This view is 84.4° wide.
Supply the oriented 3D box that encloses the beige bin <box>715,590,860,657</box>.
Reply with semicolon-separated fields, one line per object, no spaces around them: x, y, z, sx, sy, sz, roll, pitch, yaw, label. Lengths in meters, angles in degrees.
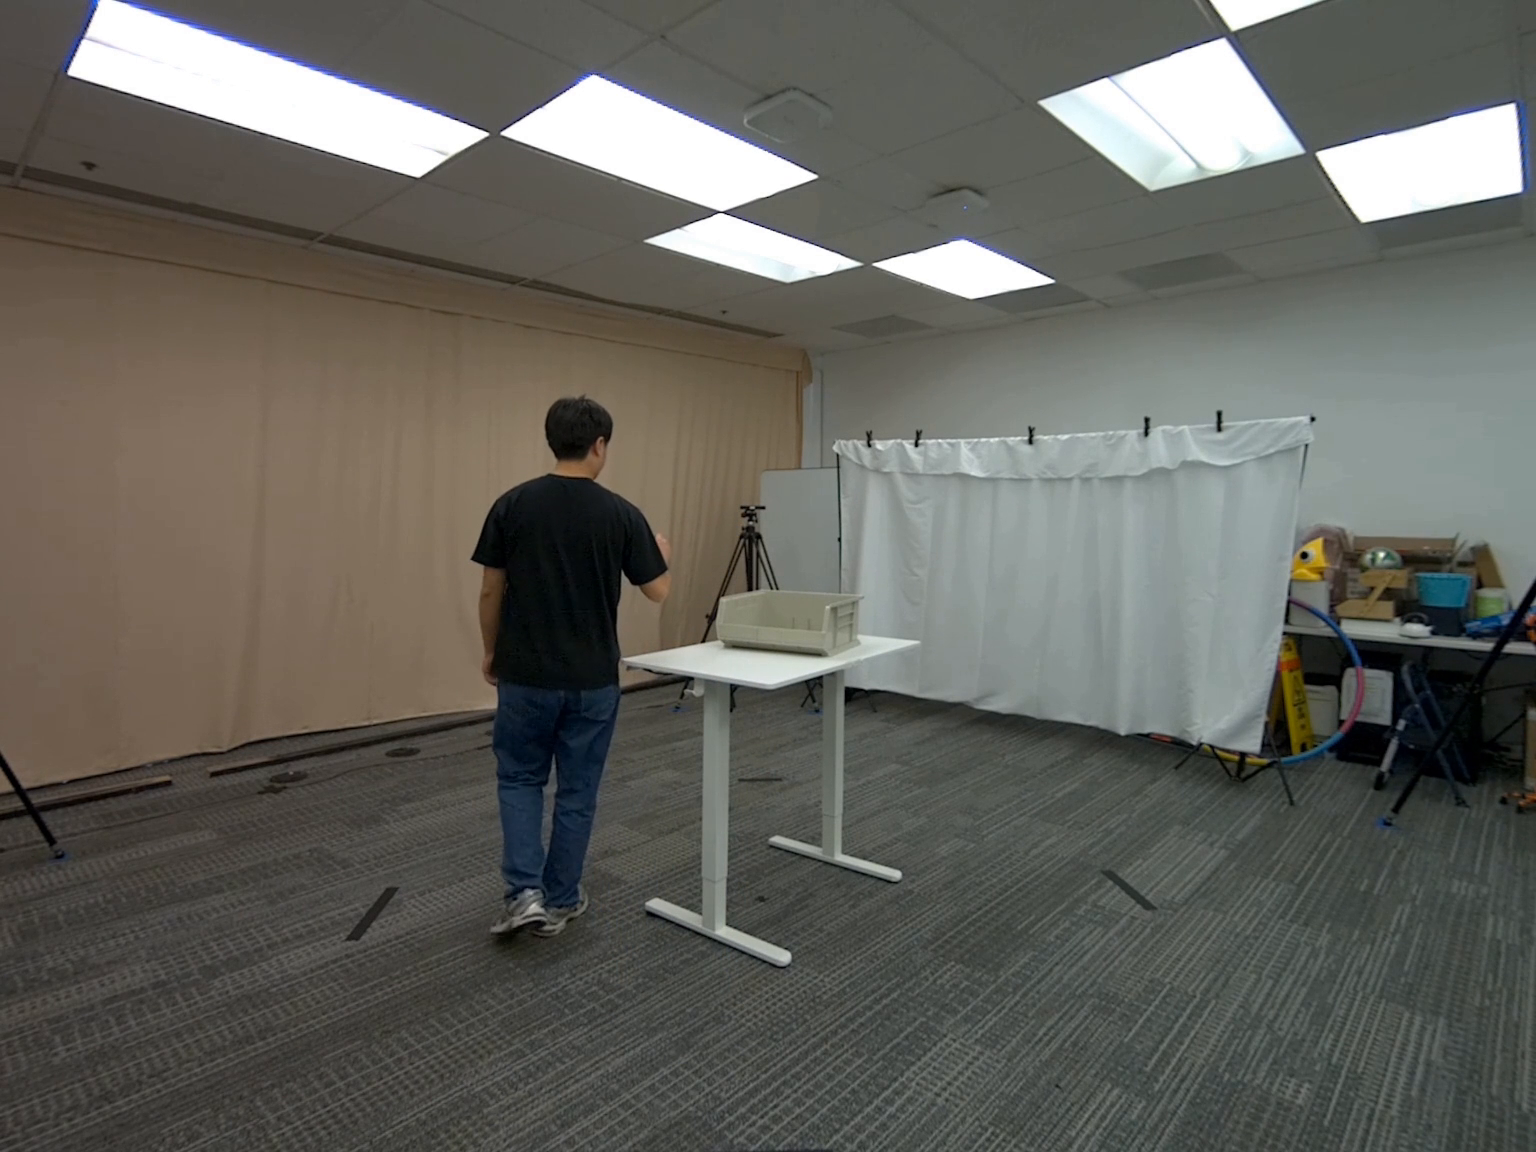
0.089;0.170;3.050;0.434;0.189;0.368;2;3;27;beige bin
